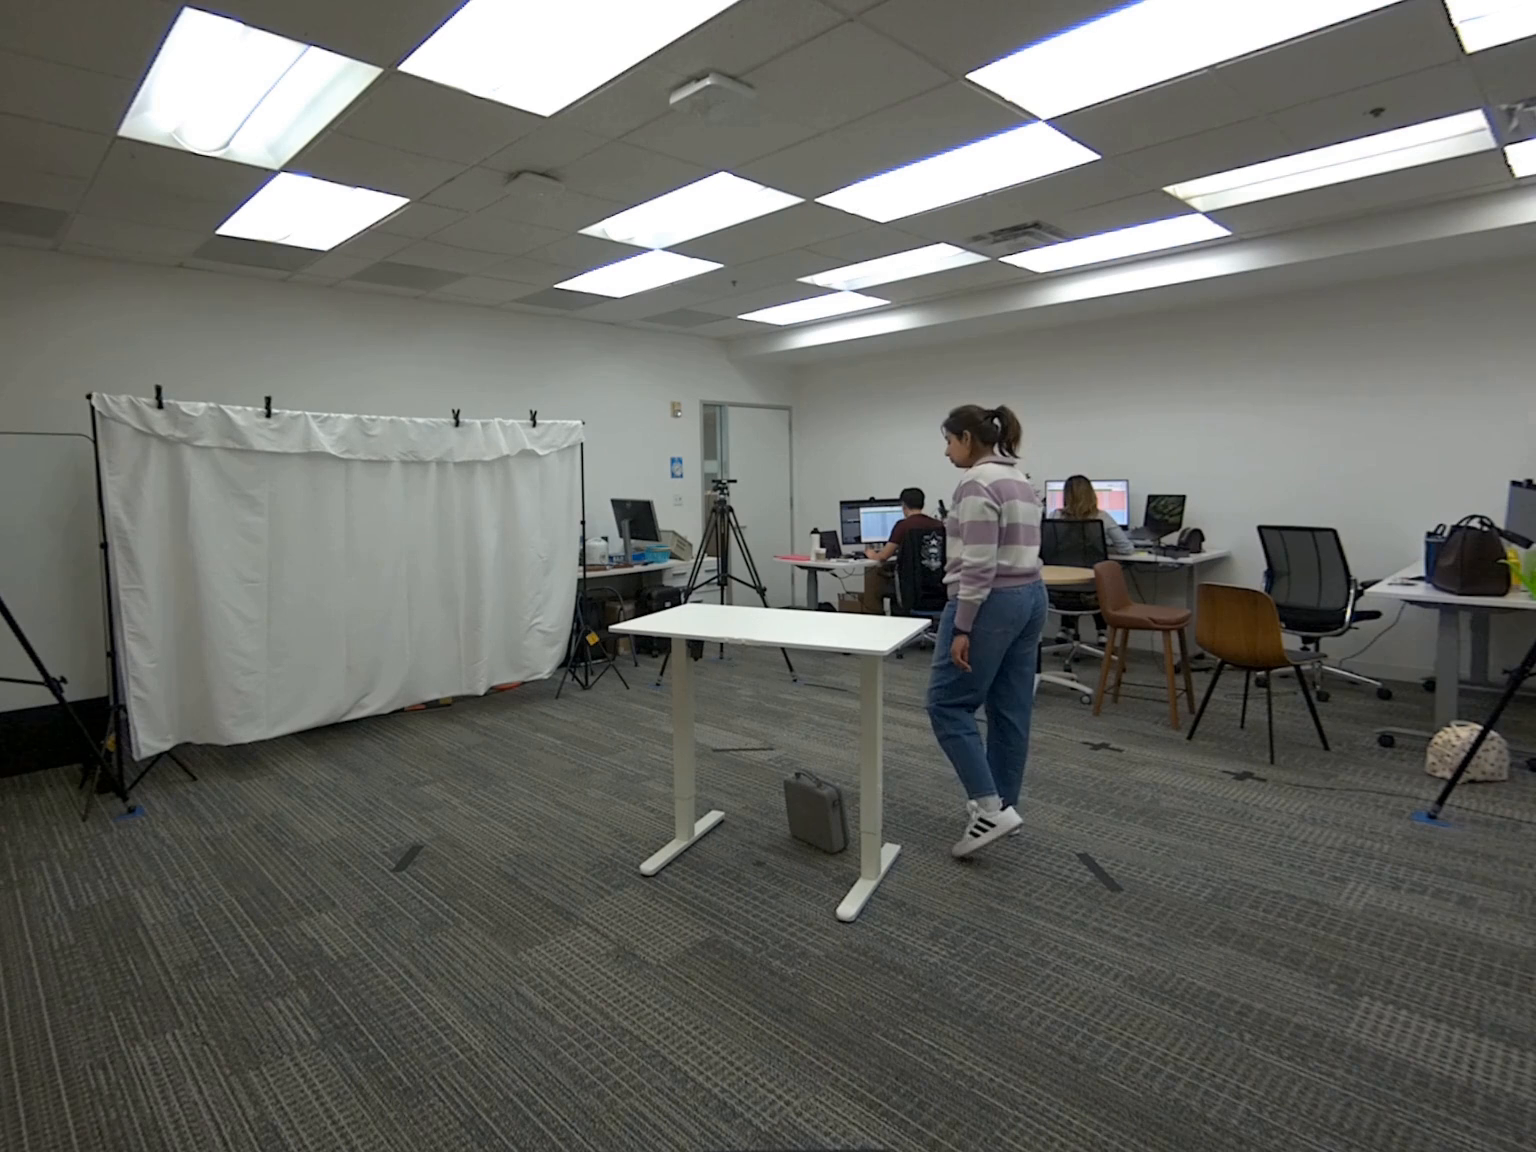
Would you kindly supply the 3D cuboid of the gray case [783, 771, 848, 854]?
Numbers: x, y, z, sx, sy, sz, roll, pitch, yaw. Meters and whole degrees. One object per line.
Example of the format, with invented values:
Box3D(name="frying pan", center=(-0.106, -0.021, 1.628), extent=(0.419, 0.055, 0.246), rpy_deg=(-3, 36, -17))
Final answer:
Box3D(name="gray case", center=(0.189, 0.894, 3.266), extent=(0.102, 0.258, 0.265), rpy_deg=(-15, 12, -36))
